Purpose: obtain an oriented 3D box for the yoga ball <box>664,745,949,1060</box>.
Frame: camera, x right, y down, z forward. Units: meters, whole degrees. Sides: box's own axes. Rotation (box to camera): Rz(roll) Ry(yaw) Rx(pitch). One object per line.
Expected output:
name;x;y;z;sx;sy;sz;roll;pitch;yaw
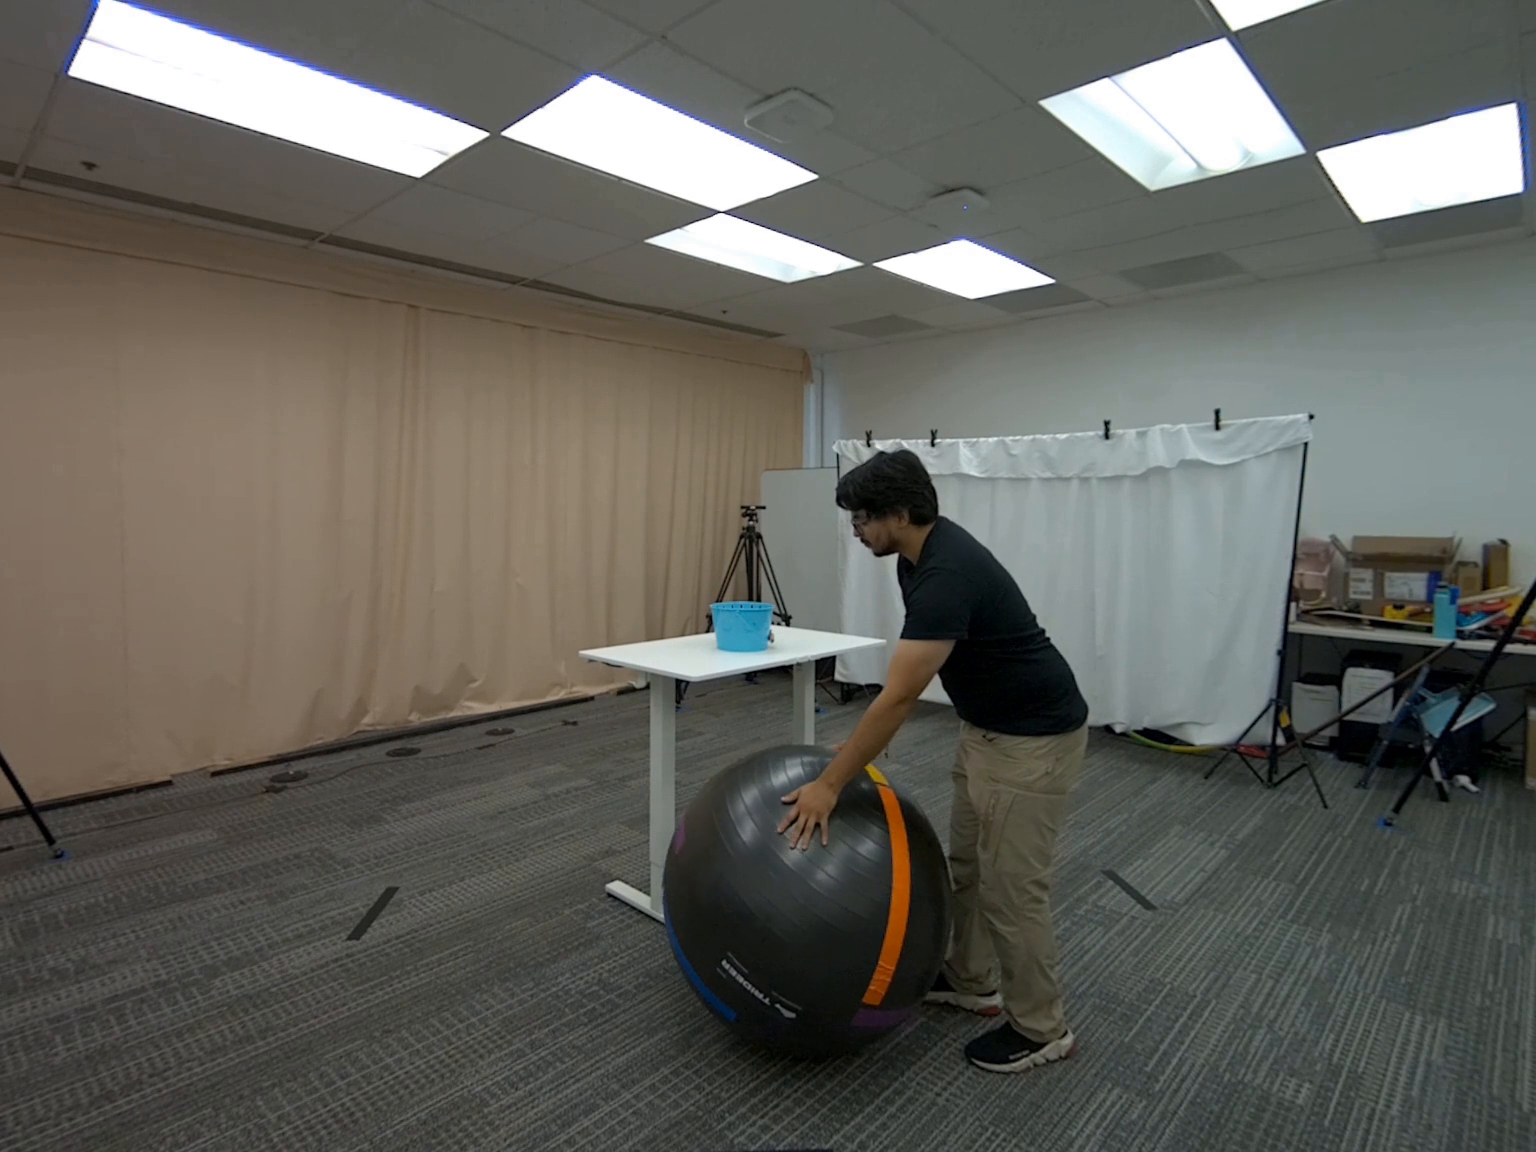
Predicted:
yoga ball;0.103;0.850;2.223;0.757;0.756;0.760;0;4;-2
